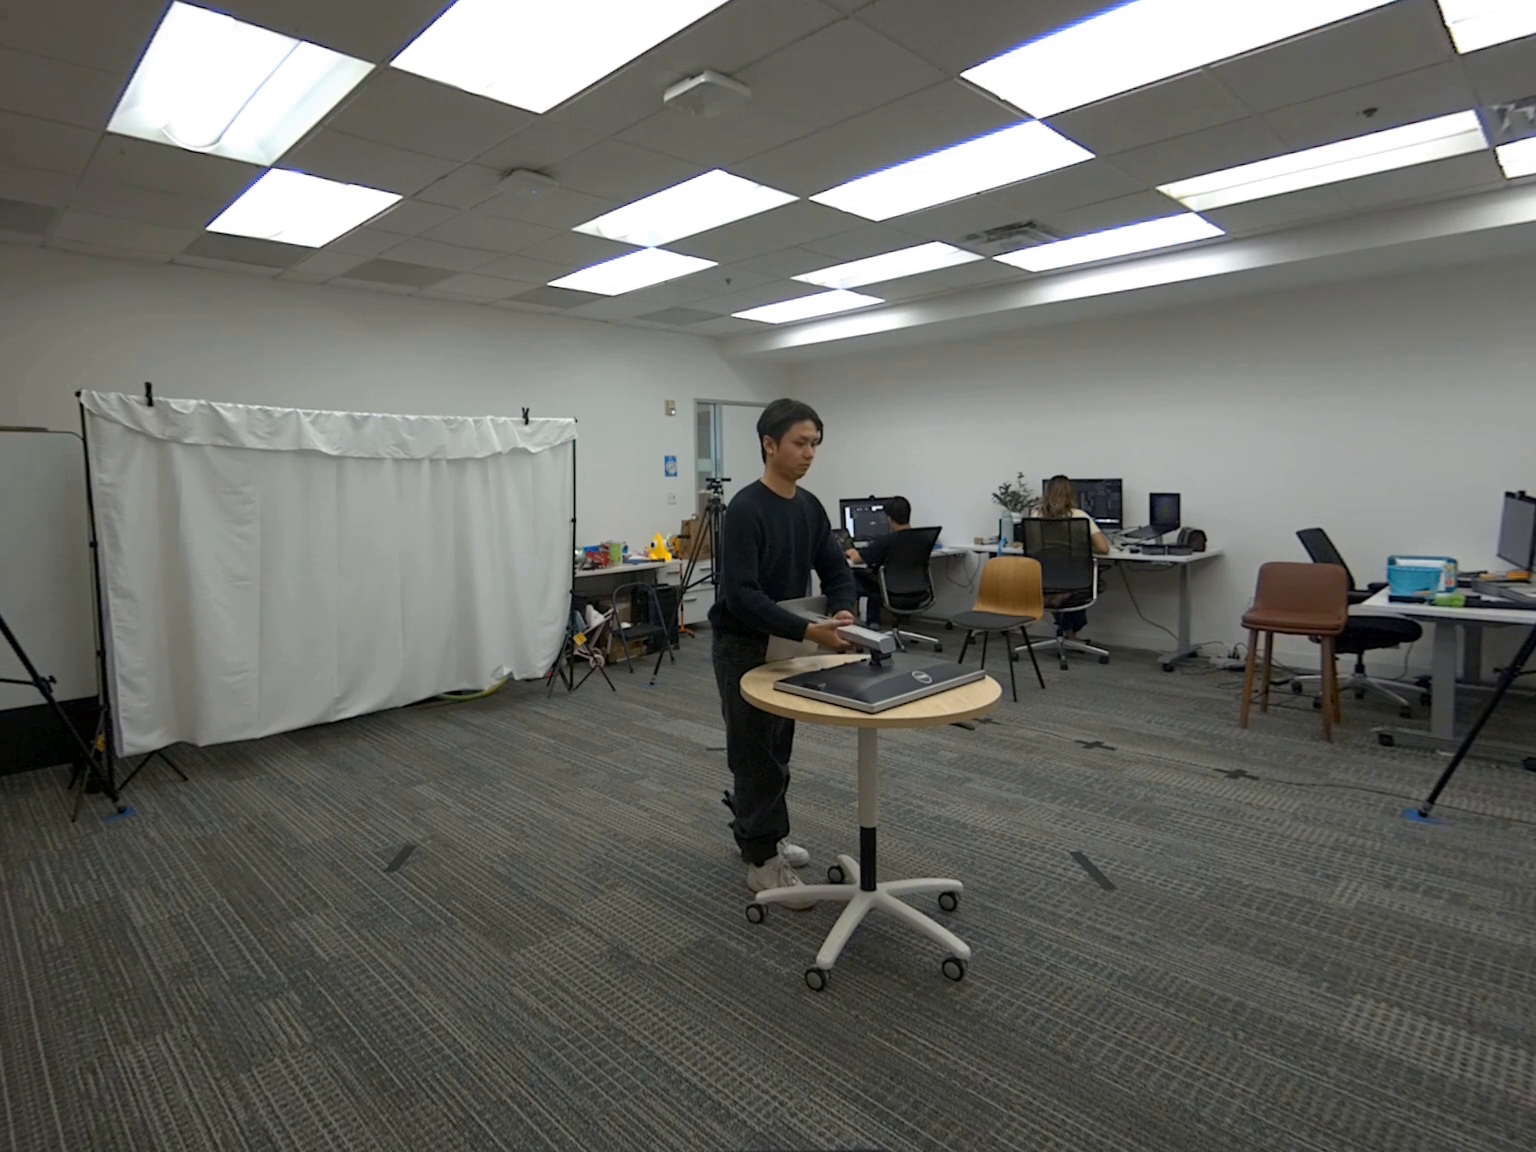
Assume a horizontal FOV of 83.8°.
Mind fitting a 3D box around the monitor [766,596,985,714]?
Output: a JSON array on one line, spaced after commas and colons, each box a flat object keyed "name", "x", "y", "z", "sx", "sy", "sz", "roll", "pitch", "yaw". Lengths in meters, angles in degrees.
[{"name": "monitor", "x": 0.282, "y": 0.245, "z": 2.586, "sx": 0.525, "sy": 0.185, "sz": 0.542, "roll": -8, "pitch": 23, "yaw": -42}]
